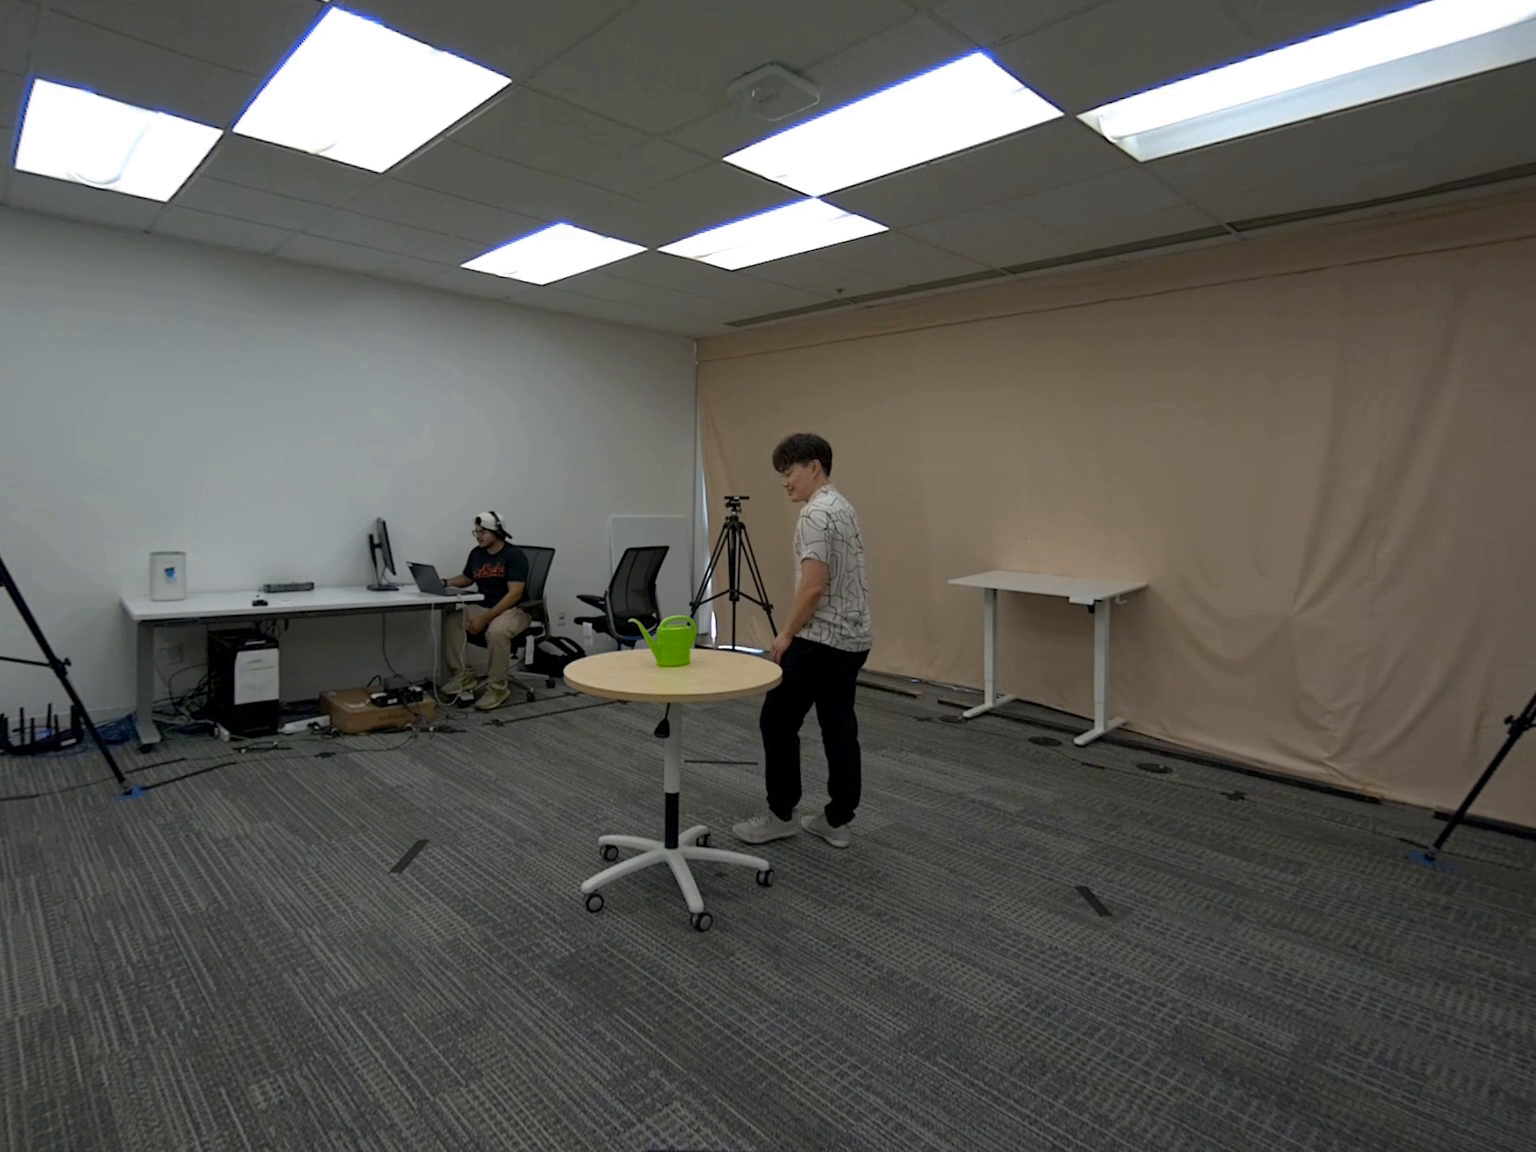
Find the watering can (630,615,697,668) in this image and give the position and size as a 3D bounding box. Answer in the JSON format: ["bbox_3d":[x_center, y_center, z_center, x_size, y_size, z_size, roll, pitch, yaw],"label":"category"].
[{"bbox_3d":[-0.385,0.234,3.027,0.273,0.177,0.100,1,0,-25],"label":"watering can"}]
